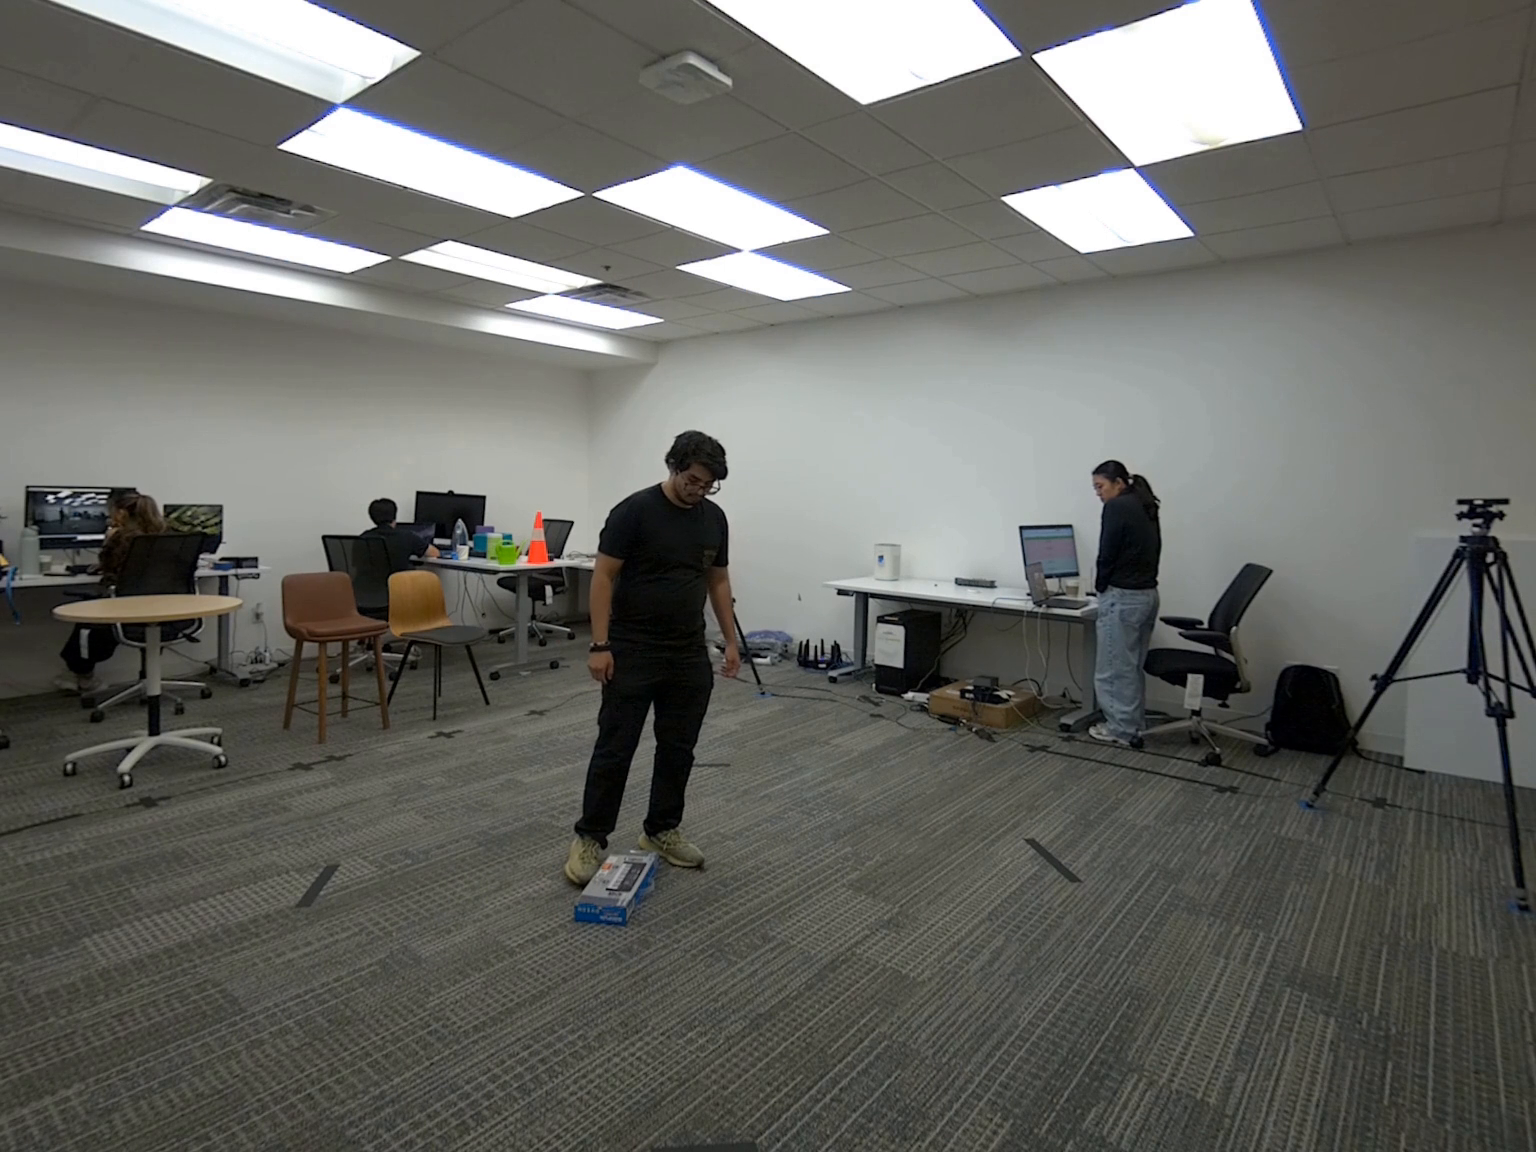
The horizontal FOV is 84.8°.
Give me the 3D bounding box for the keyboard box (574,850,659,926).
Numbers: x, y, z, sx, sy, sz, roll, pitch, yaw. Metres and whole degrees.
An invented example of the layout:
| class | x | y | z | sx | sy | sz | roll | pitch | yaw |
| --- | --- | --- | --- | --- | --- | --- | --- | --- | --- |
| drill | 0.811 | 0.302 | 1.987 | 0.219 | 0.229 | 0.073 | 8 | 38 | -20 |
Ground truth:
| class | x | y | z | sx | sy | sz | roll | pitch | yaw |
| --- | --- | --- | --- | --- | --- | --- | --- | --- | --- |
| keyboard box | -0.518 | 1.056 | 2.911 | 0.178 | 0.059 | 0.434 | 1 | 5 | 7 |
